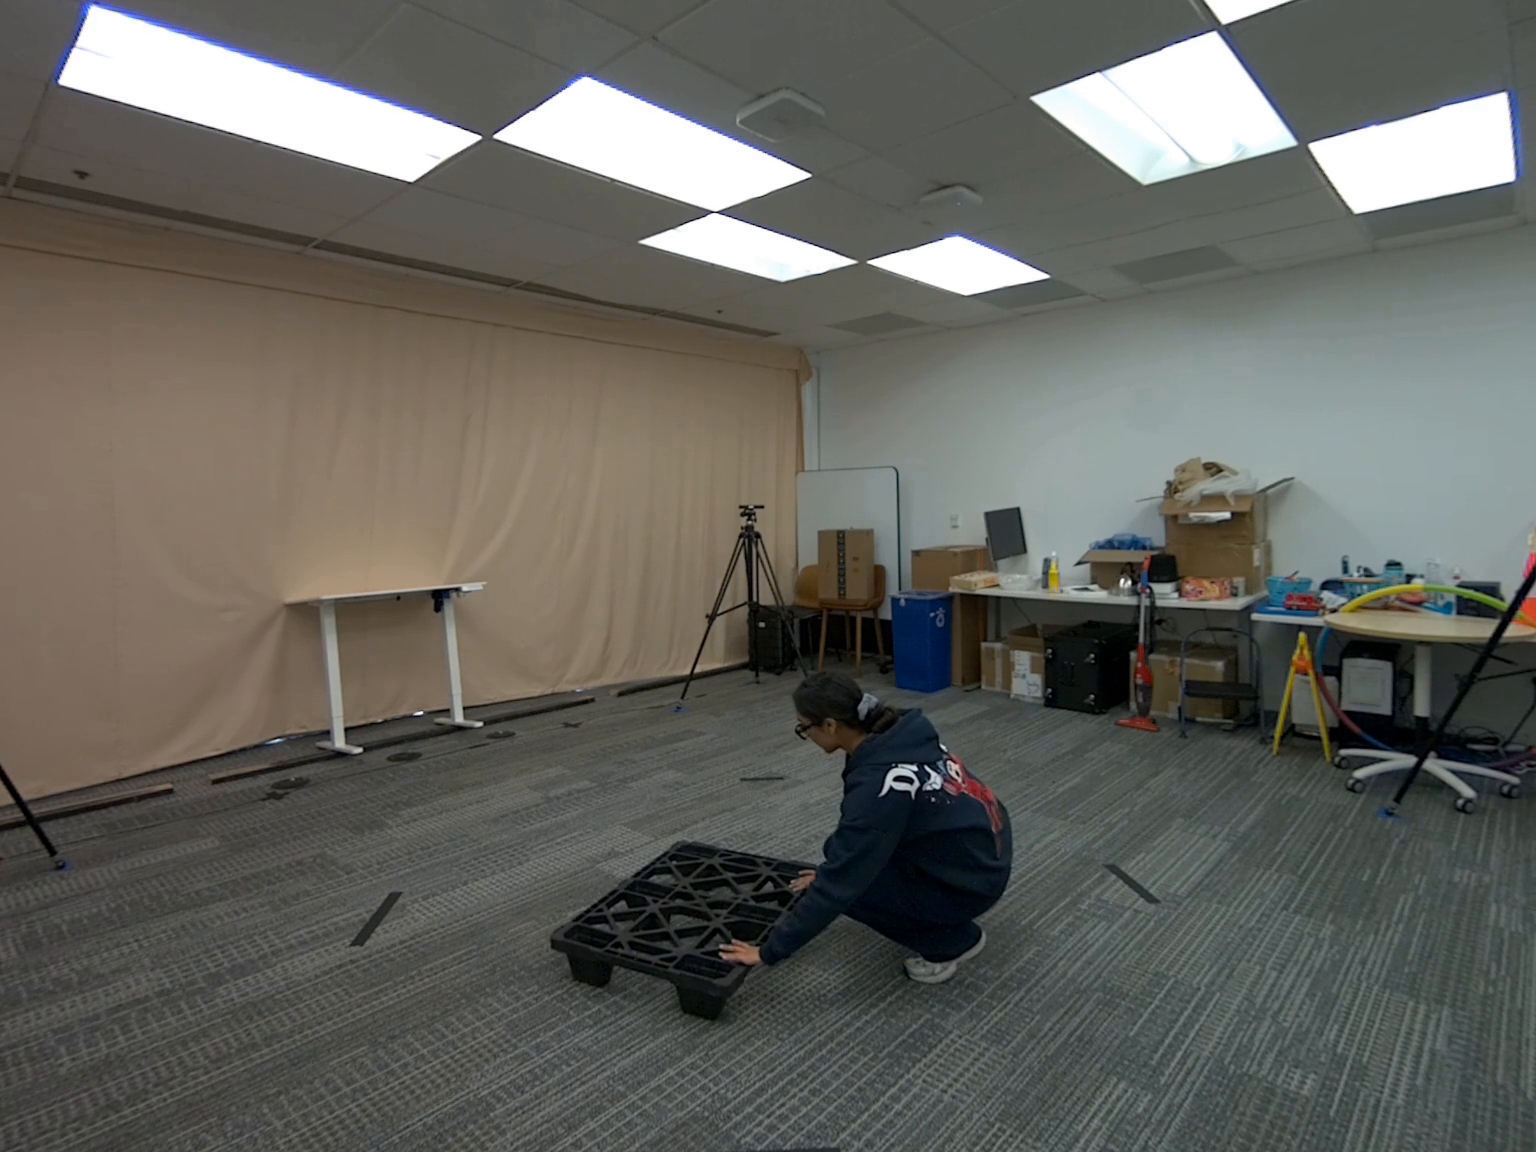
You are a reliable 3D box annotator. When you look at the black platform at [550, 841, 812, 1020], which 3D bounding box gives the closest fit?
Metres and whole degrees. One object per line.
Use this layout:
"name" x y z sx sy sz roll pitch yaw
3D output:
"black platform" -0.206 1.101 2.704 0.621 0.143 0.787 2 6 25
